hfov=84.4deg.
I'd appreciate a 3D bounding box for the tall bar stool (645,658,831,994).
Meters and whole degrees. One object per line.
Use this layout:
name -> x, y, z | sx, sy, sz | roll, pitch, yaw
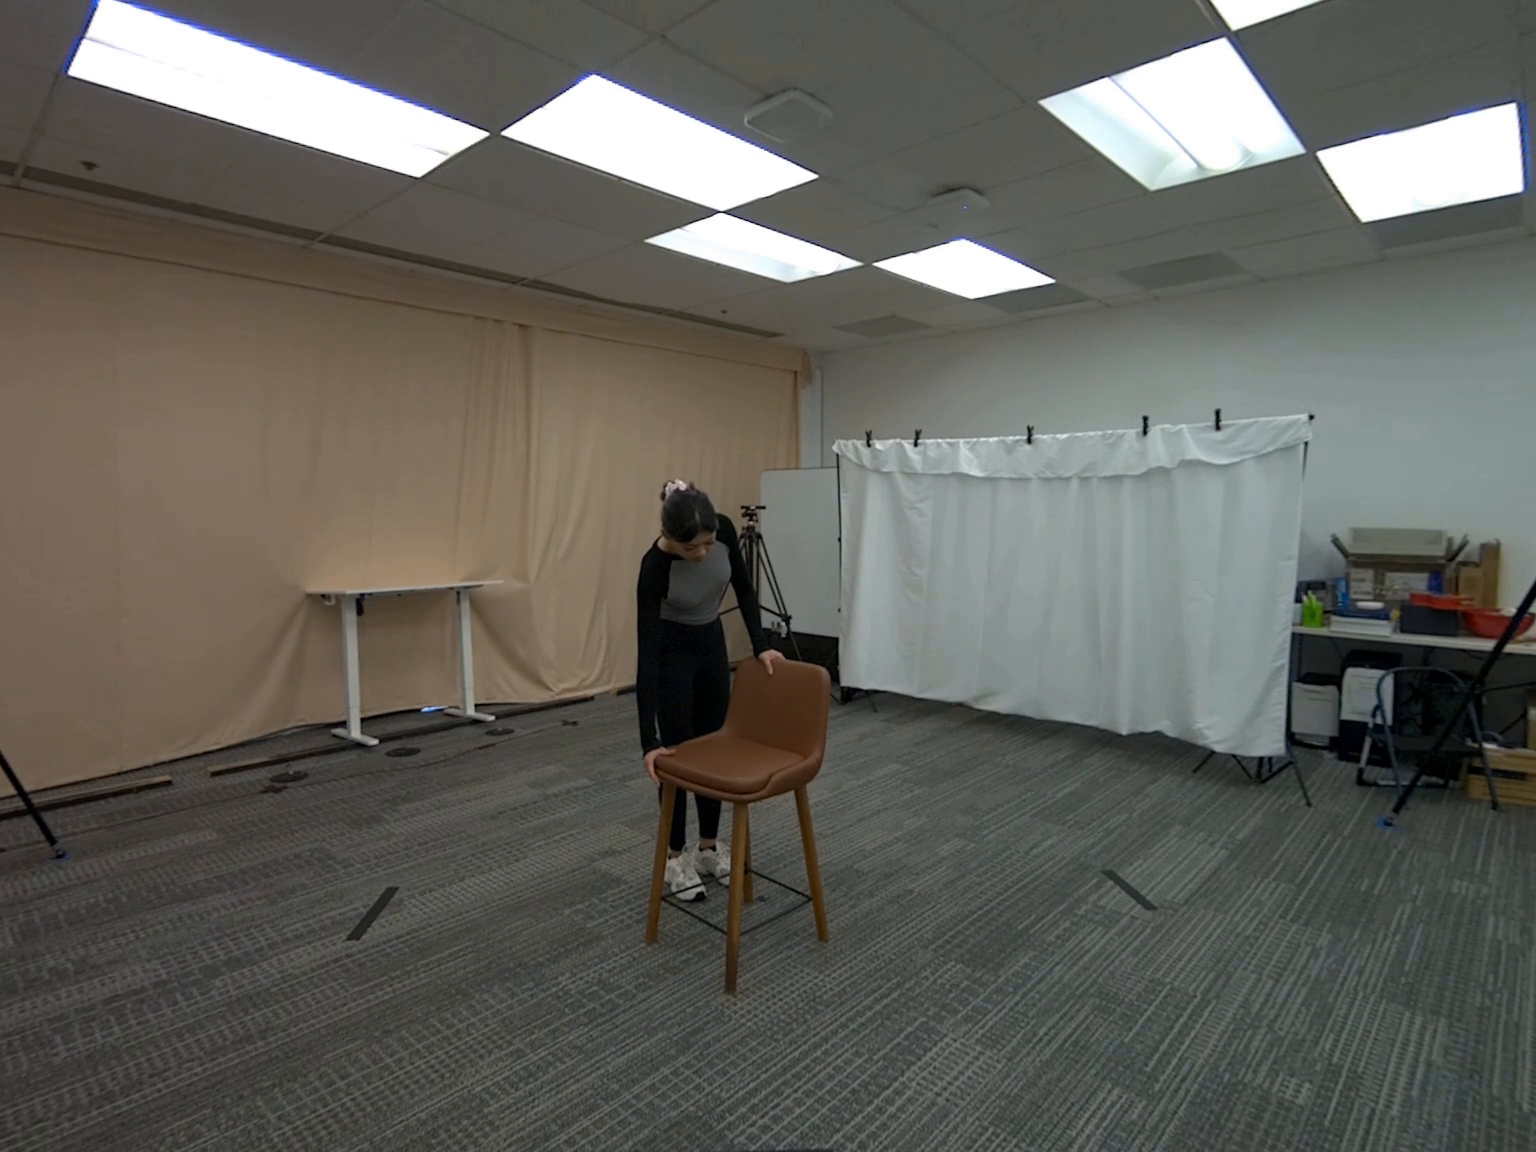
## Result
tall bar stool -> -0.080, 0.732, 2.670 | 0.453, 0.889, 0.472 | 0, 2, -44
